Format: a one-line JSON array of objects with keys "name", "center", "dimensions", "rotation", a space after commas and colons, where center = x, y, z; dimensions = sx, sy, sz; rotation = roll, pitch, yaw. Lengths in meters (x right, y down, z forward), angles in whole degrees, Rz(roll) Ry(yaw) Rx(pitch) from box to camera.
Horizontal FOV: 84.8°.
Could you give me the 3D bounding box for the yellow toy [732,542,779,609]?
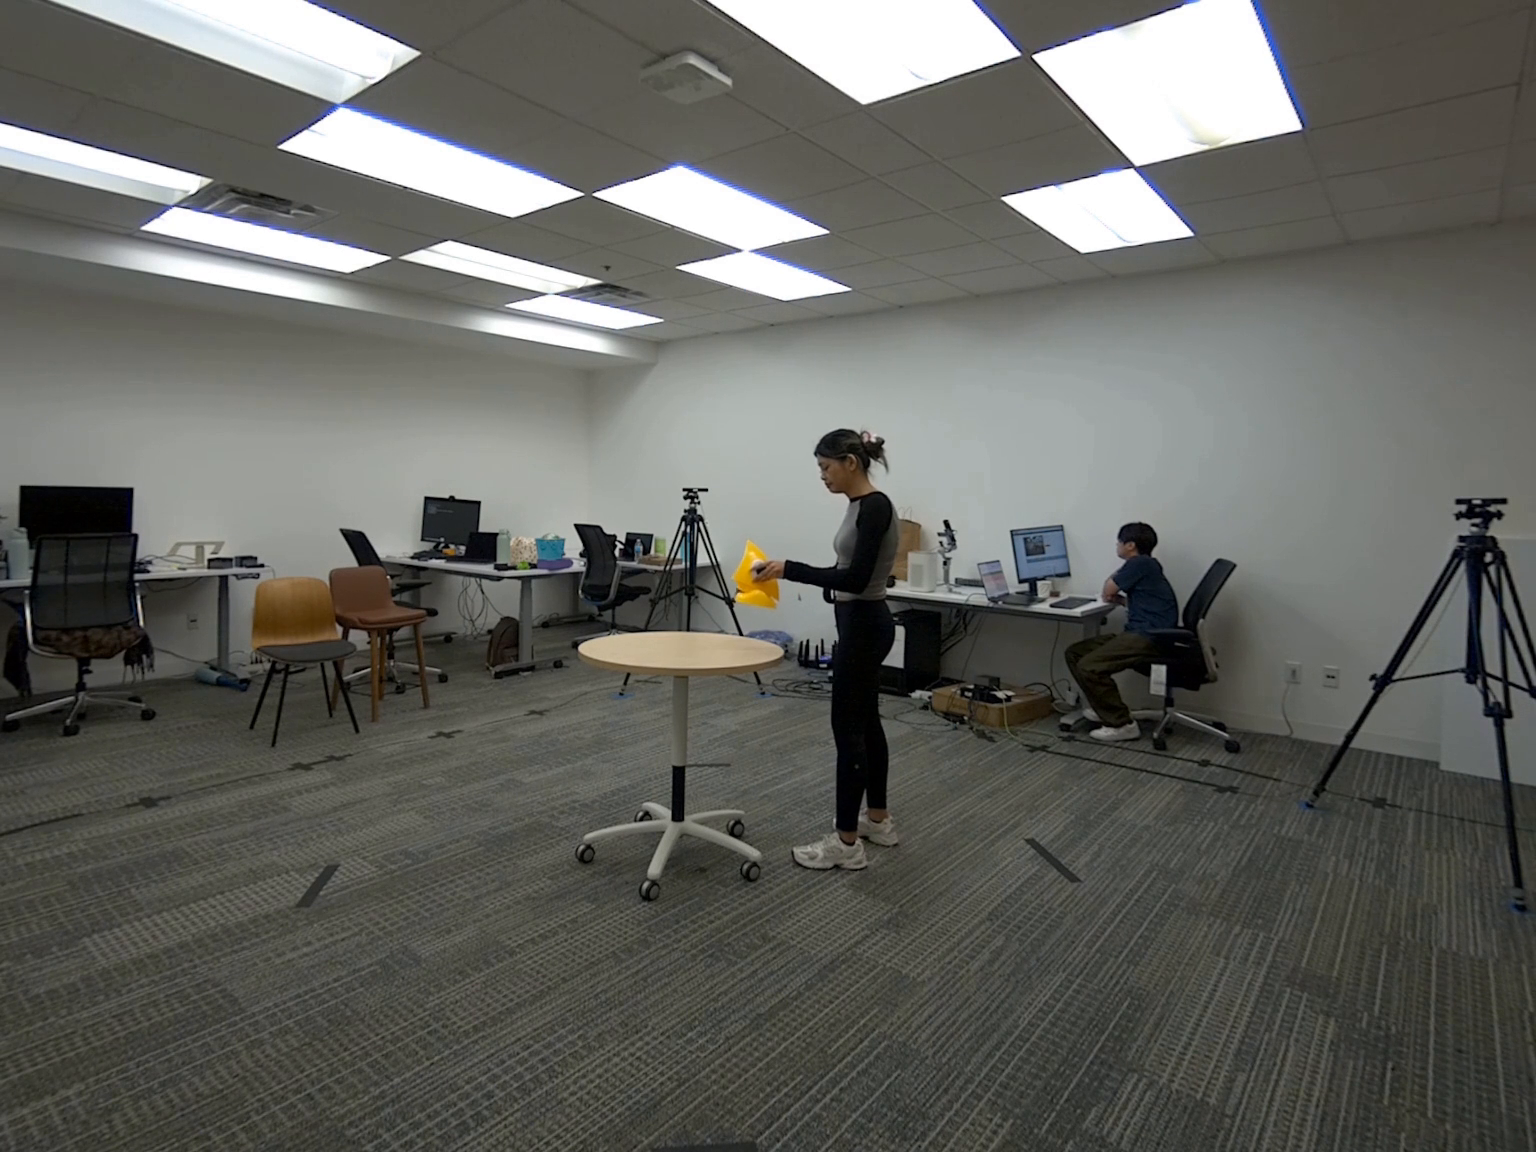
[{"name": "yellow toy", "center": [-0.046, -0.016, 3.236], "dimensions": [0.194, 0.230, 0.204], "rotation": [9, 3, 3]}]
